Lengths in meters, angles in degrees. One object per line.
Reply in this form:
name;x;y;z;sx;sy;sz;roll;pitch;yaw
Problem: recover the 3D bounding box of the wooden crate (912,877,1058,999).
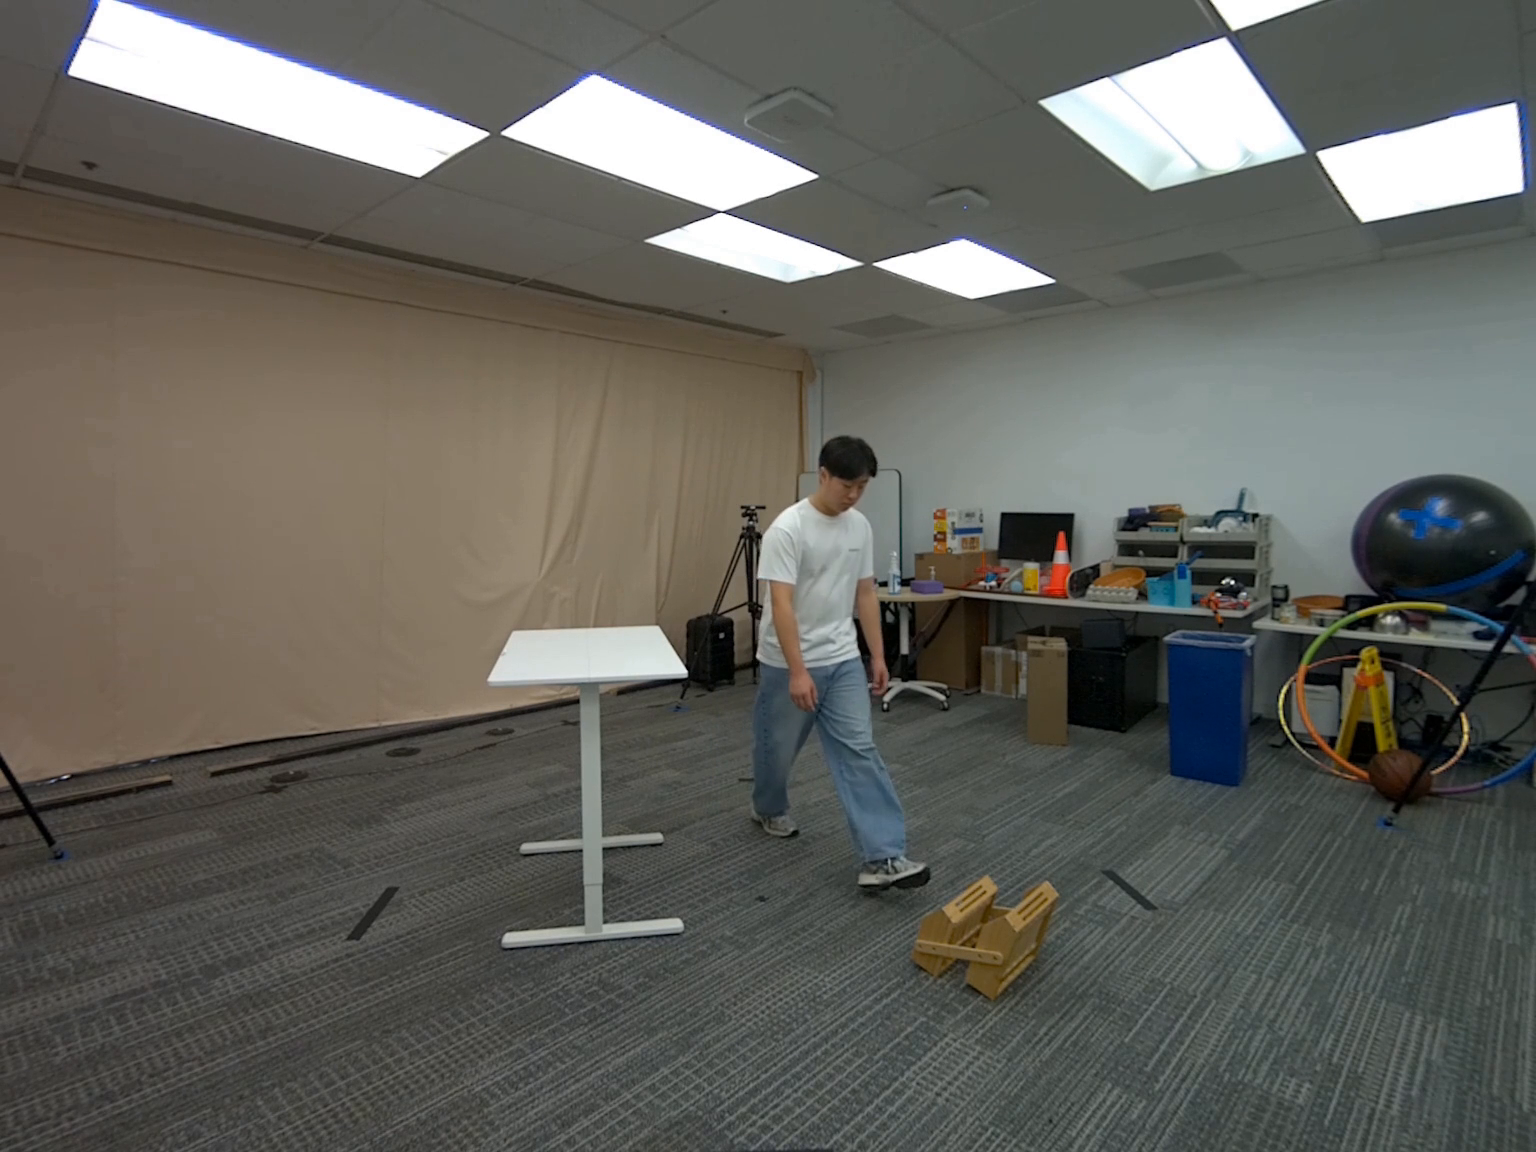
wooden crate;0.656;1.045;2.533;0.283;0.300;0.315;24;18;37
